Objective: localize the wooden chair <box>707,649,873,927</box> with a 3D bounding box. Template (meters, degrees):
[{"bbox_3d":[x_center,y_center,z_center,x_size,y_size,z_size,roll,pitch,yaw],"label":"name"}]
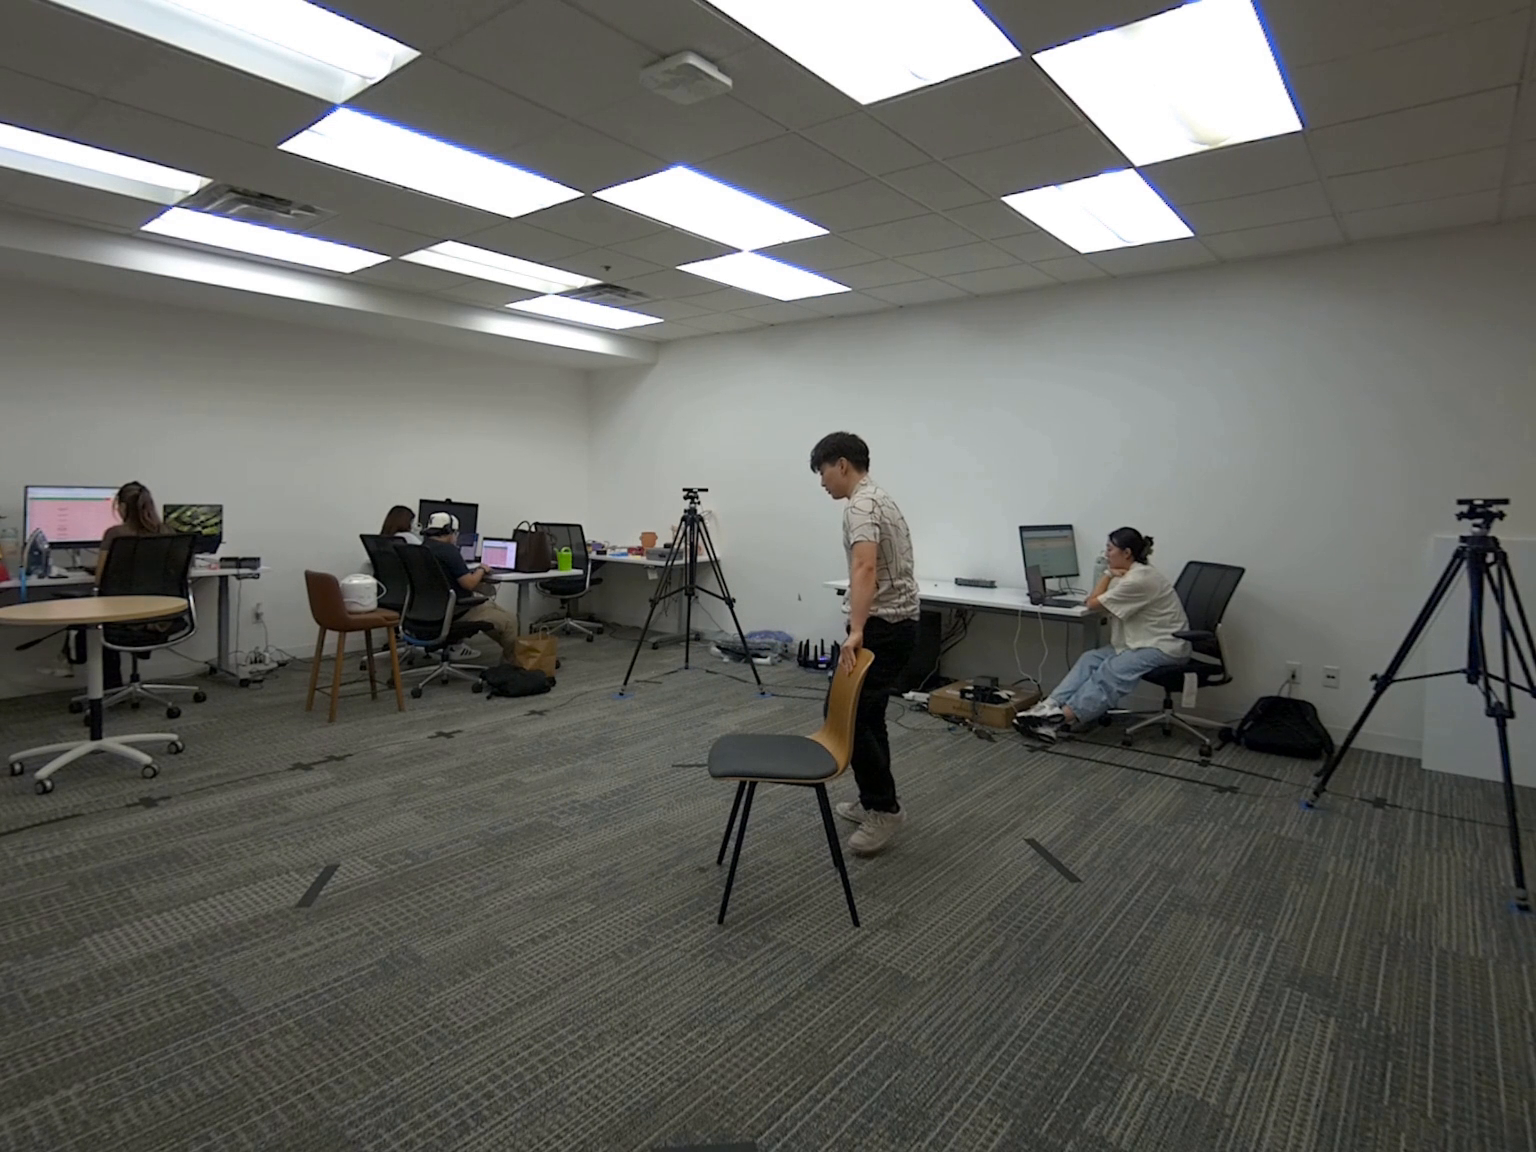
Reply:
[{"bbox_3d":[0.047,0.668,2.908,0.522,0.875,0.480,5,4,-2],"label":"wooden chair"}]
